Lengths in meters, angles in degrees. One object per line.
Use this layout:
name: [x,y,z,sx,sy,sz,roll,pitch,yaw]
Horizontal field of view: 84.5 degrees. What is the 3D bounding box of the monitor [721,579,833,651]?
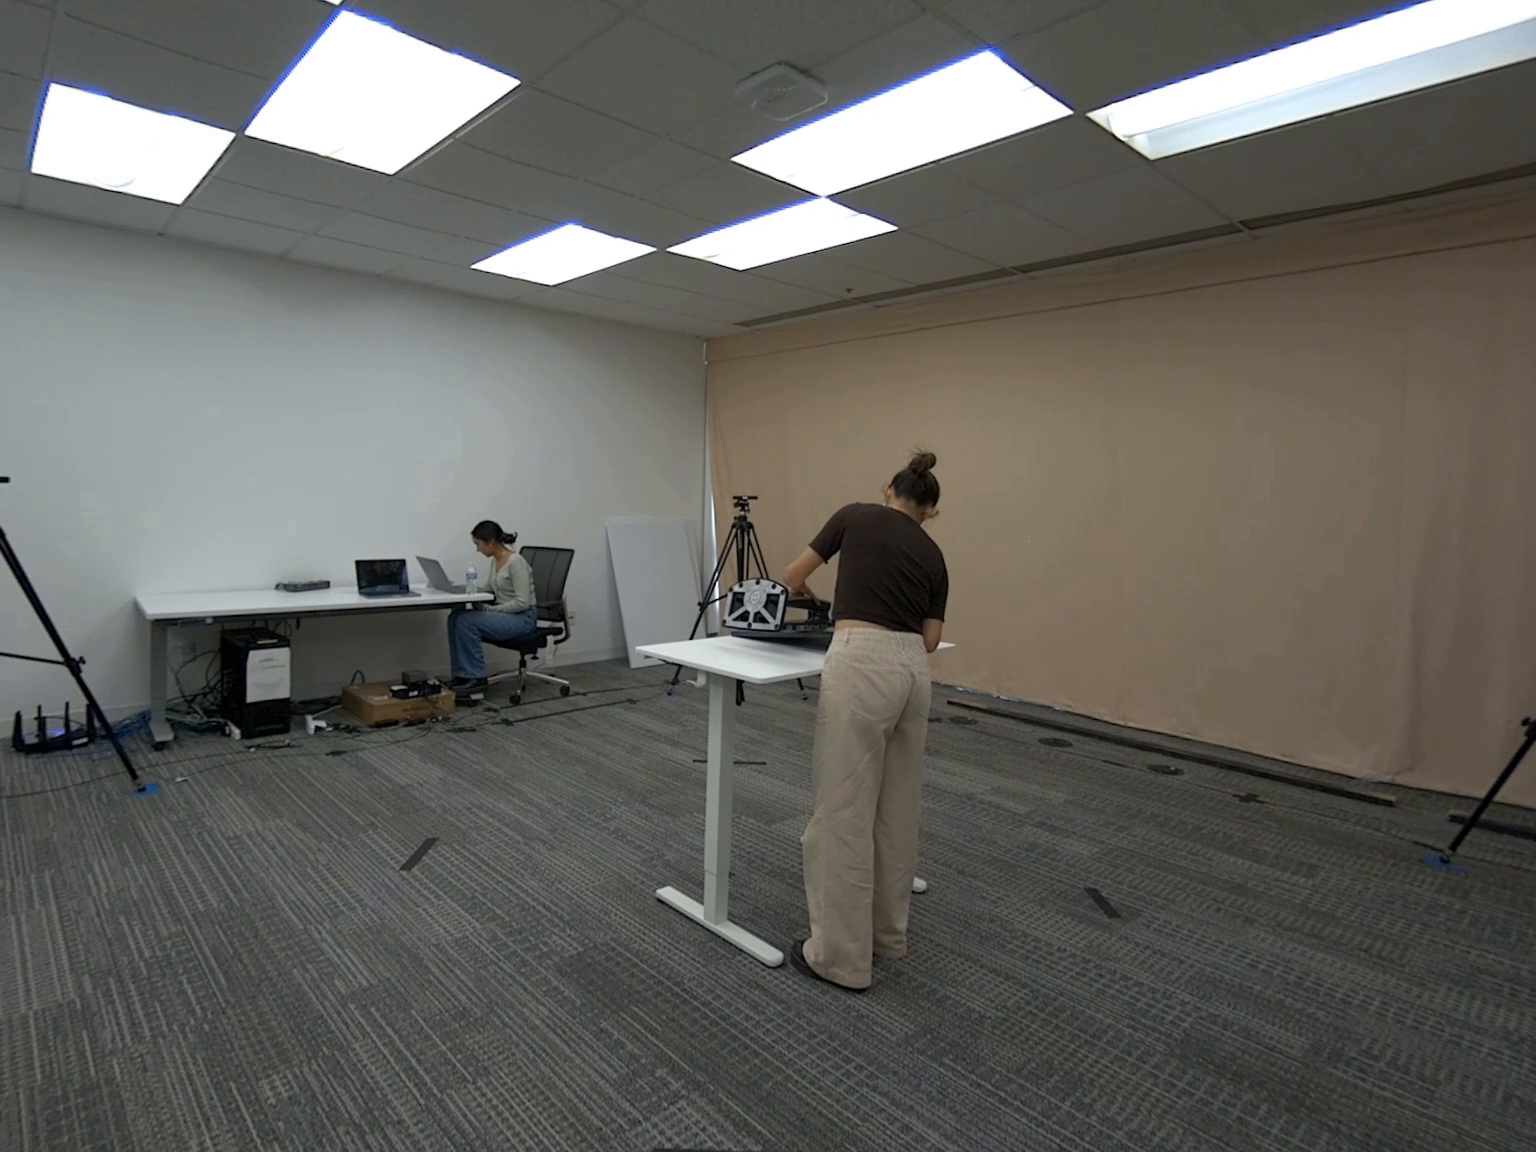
monitor: [0.117,0.151,2.975,0.552,0.188,0.507,0,-13,45]
